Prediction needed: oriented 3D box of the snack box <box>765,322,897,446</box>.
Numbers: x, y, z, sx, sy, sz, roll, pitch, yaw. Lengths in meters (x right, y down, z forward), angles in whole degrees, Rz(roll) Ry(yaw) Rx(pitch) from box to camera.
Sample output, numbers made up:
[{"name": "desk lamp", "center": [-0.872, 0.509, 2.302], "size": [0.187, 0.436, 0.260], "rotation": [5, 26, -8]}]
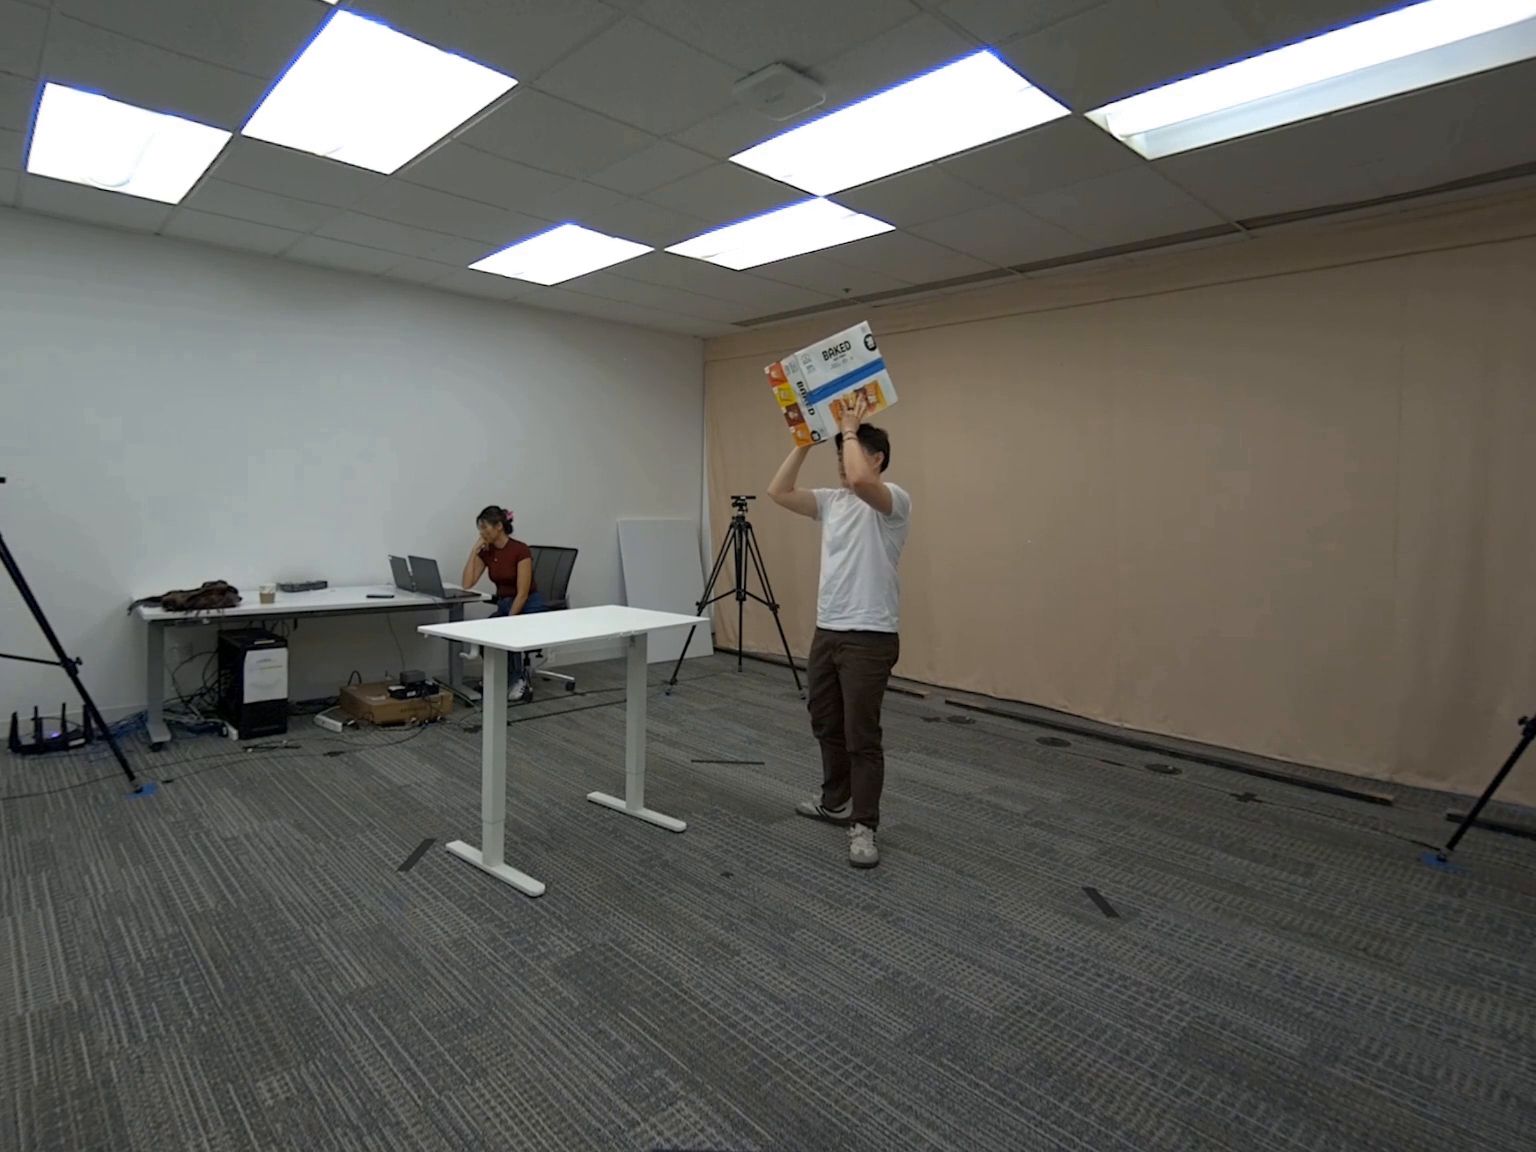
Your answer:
[{"name": "snack box", "center": [0.246, -0.755, 3.319], "size": [0.402, 0.336, 0.209], "rotation": [-31, 13, -30]}]
